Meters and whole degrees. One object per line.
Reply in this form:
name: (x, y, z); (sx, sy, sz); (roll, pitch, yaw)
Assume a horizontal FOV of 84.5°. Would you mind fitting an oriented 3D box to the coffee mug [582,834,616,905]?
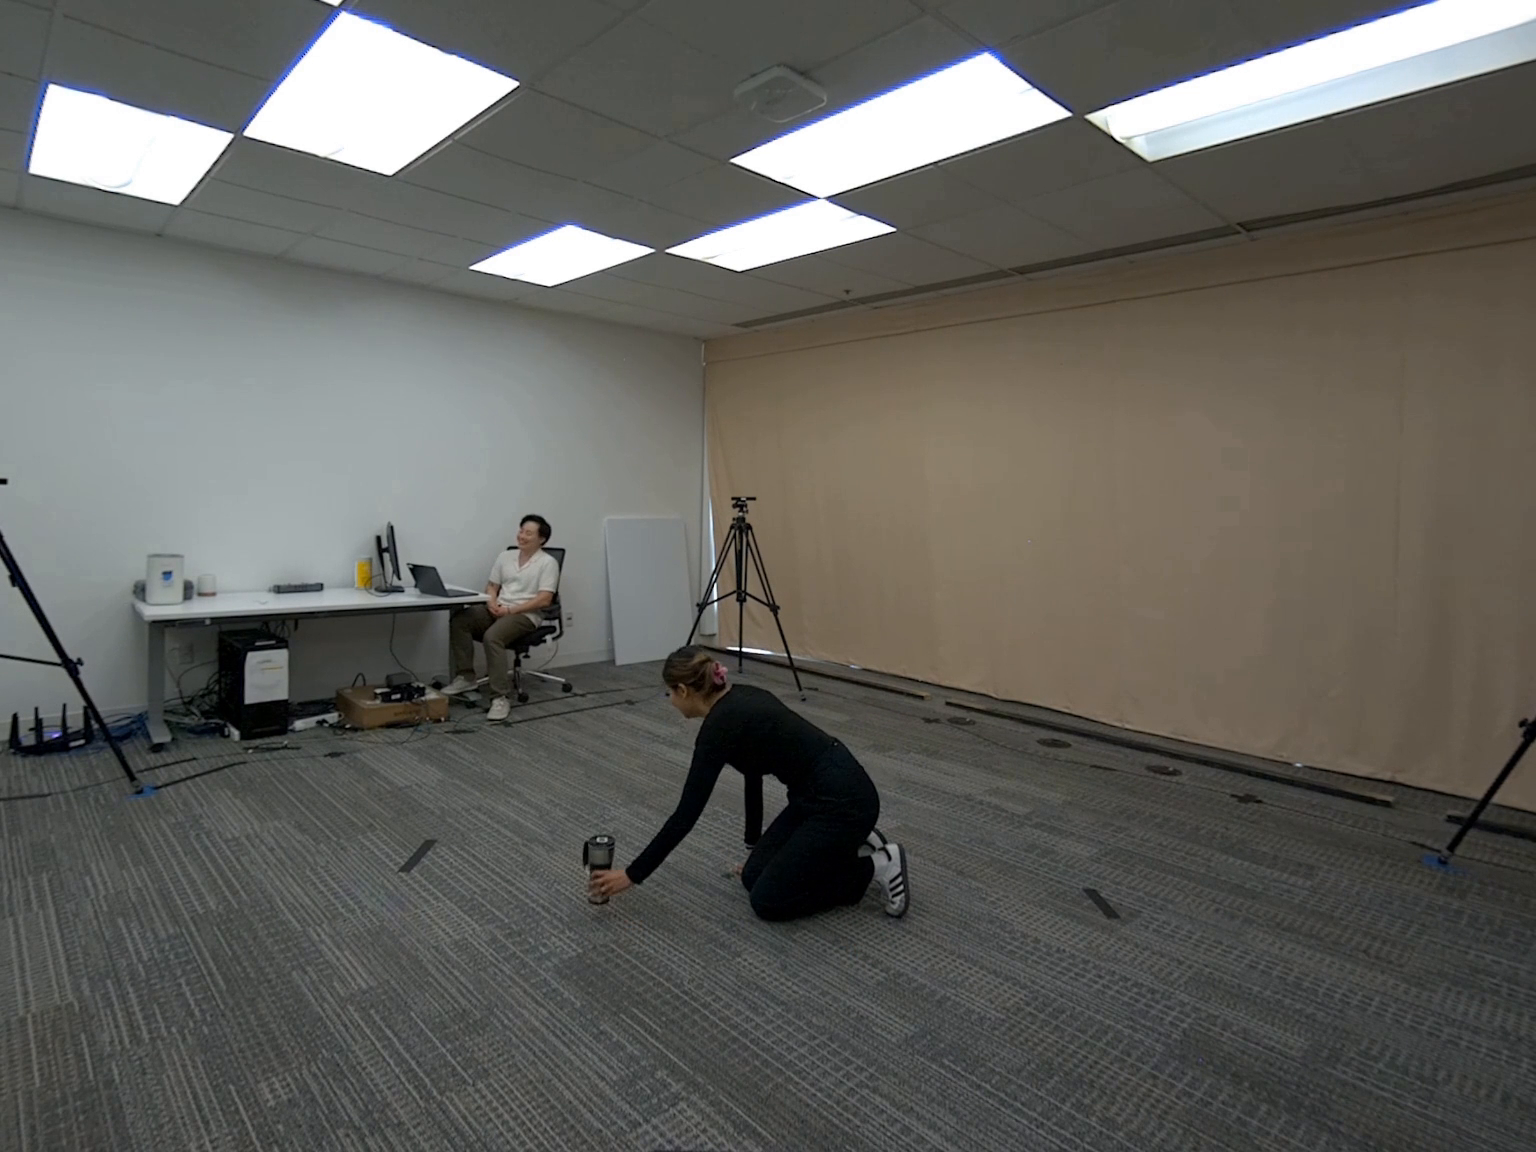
coffee mug: (-0.561, 0.973, 2.819); (0.086, 0.202, 0.125); (2, 3, -35)
